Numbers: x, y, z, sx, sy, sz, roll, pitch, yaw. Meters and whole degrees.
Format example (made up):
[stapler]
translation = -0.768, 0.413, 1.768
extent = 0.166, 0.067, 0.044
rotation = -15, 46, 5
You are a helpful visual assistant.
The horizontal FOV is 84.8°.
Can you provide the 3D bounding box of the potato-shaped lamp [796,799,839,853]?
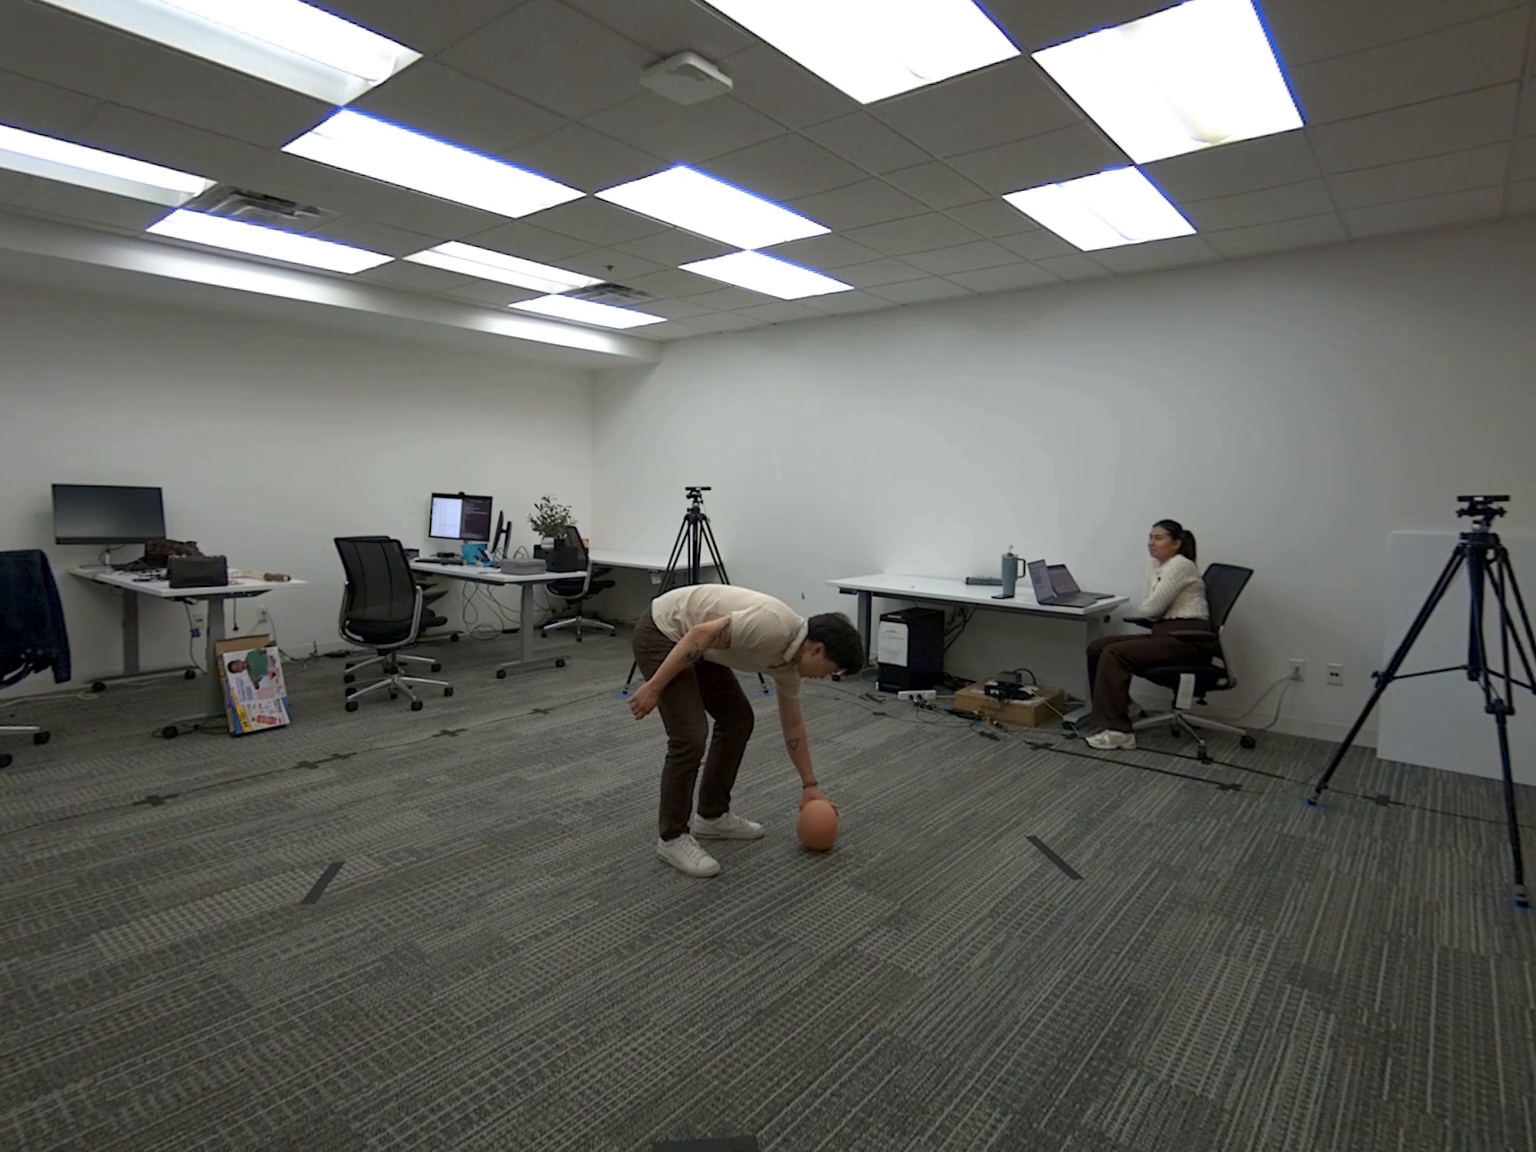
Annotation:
[potato-shaped lamp]
translation = 0.192, 0.952, 3.300
extent = 0.166, 0.192, 0.175
rotation = 2, 37, 9
